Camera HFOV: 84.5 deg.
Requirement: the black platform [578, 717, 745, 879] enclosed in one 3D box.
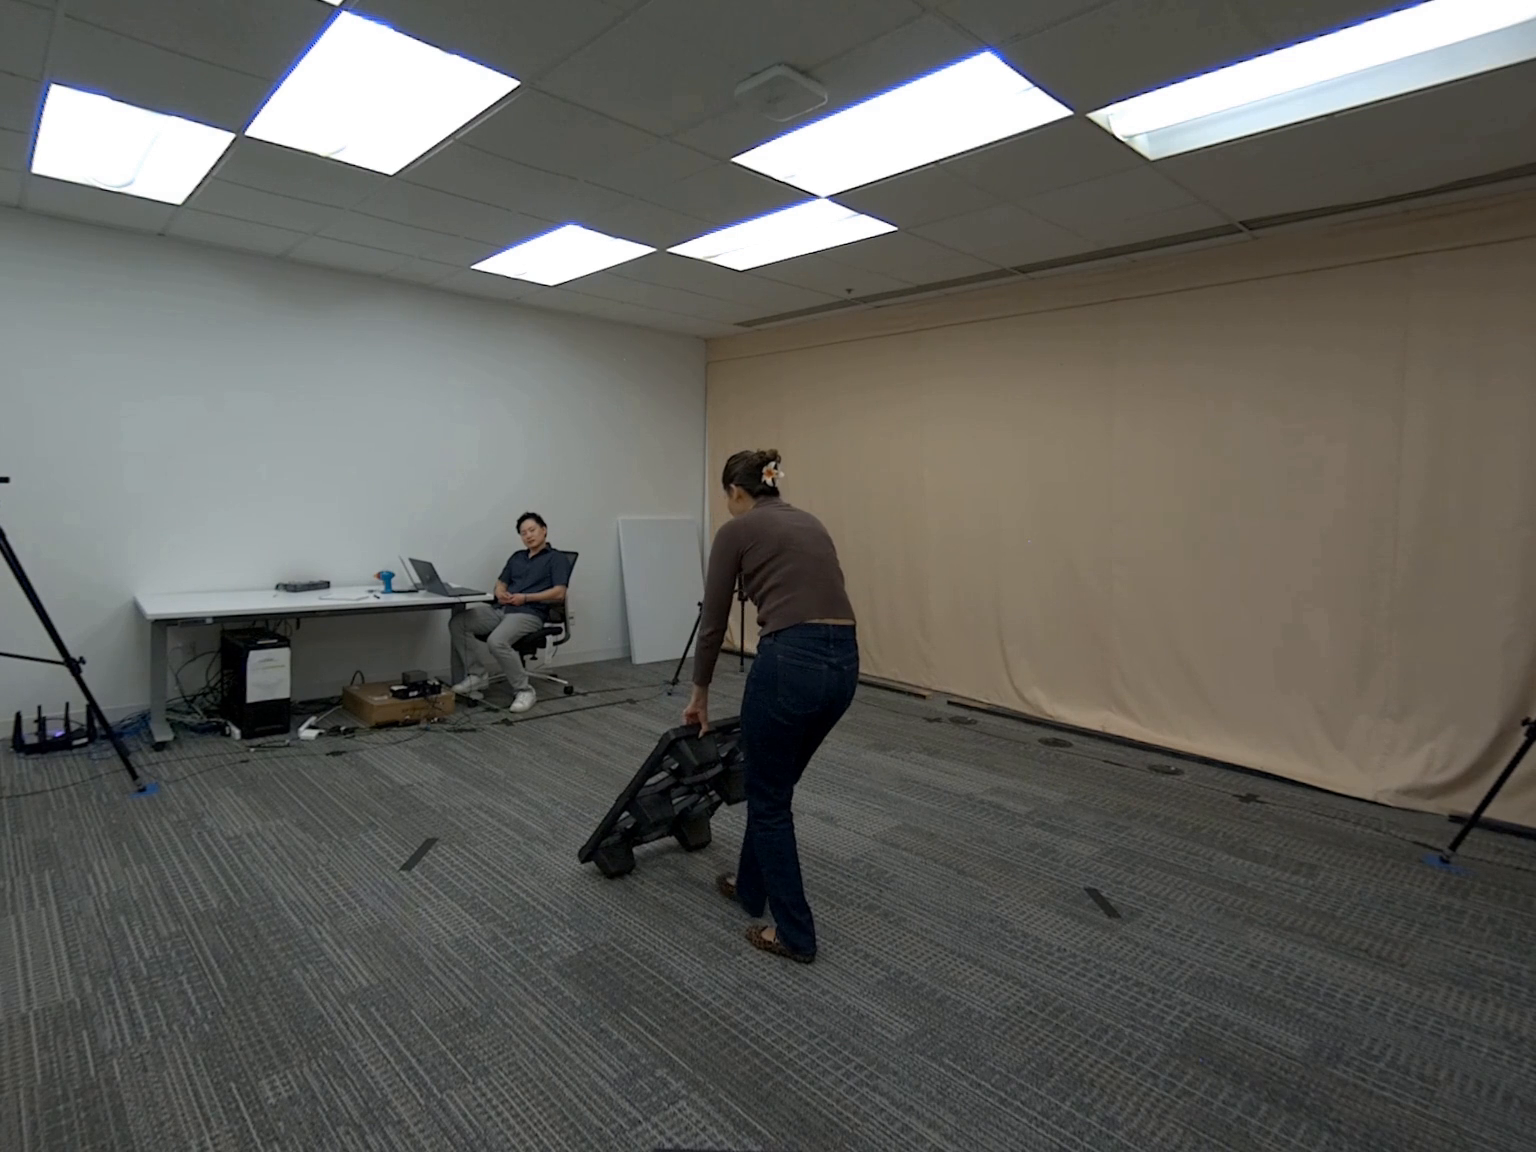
[{"bbox_3d":[-0.274,0.785,3.029,0.592,0.801,0.147,-4,49,-44],"label":"black platform"}]
